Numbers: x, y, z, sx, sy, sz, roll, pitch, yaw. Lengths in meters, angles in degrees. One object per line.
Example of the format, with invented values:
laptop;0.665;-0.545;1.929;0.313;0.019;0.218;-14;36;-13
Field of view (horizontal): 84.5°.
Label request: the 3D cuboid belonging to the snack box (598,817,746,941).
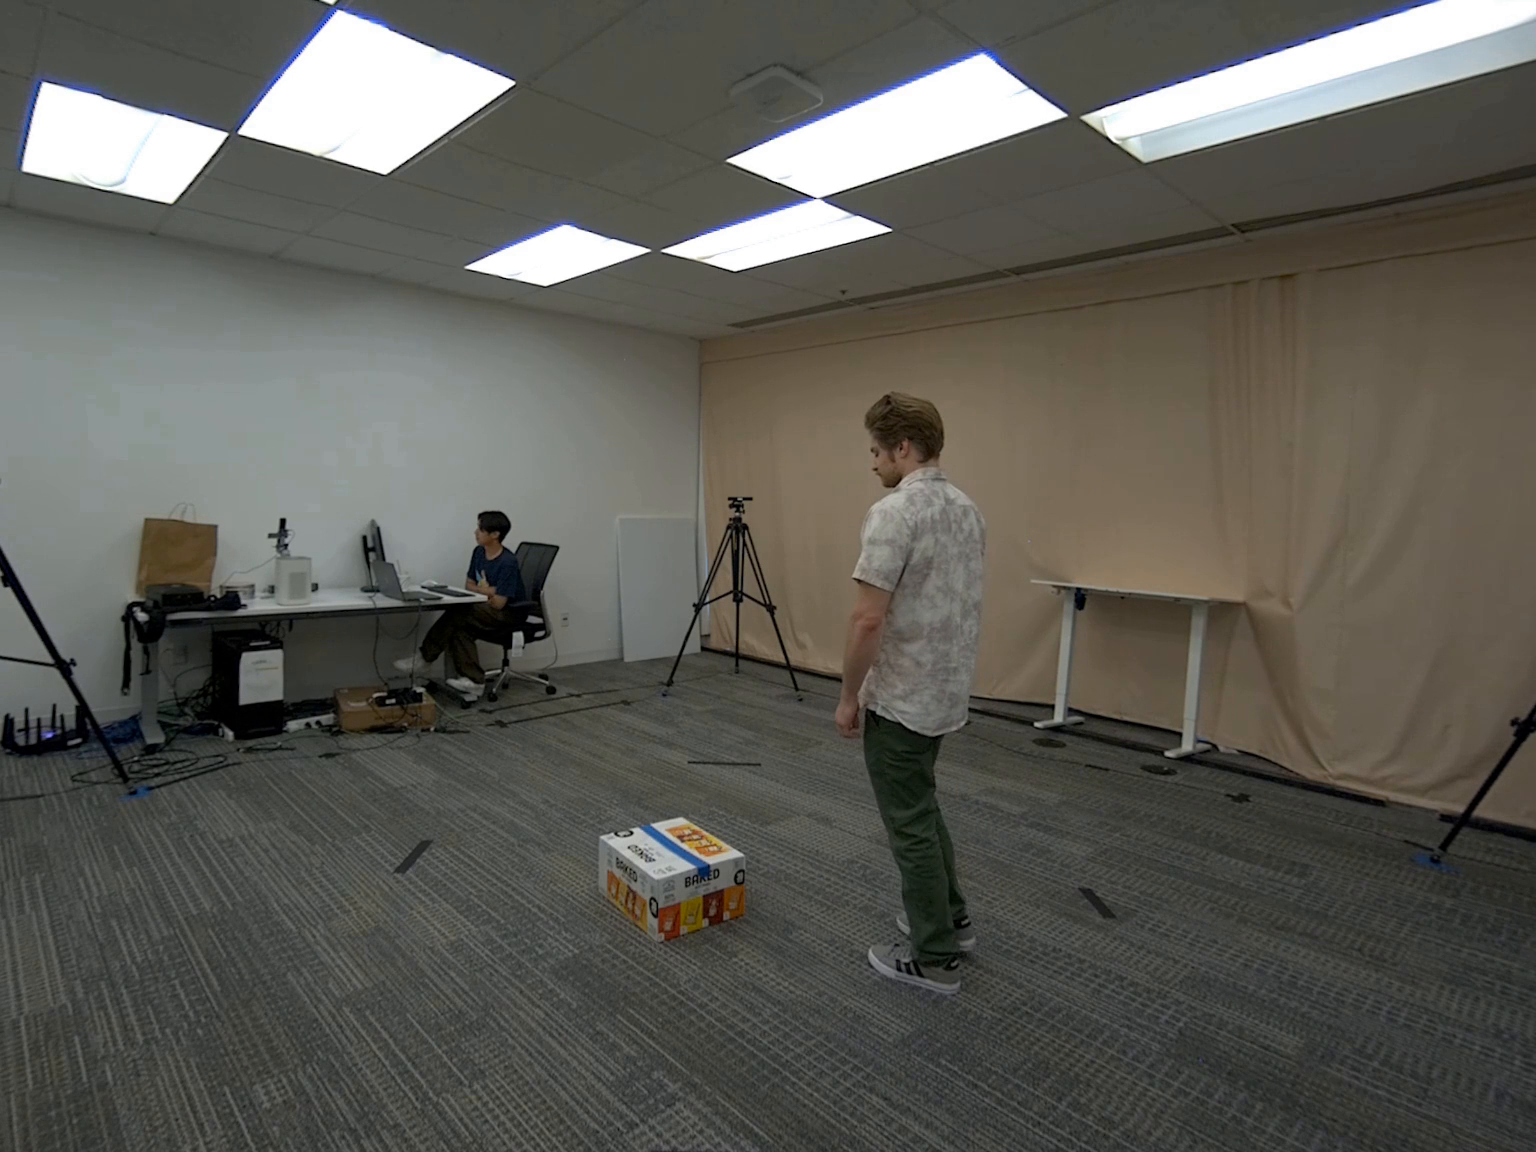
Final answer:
snack box;-0.340;1.024;2.875;0.333;0.205;0.415;-1;6;-37
